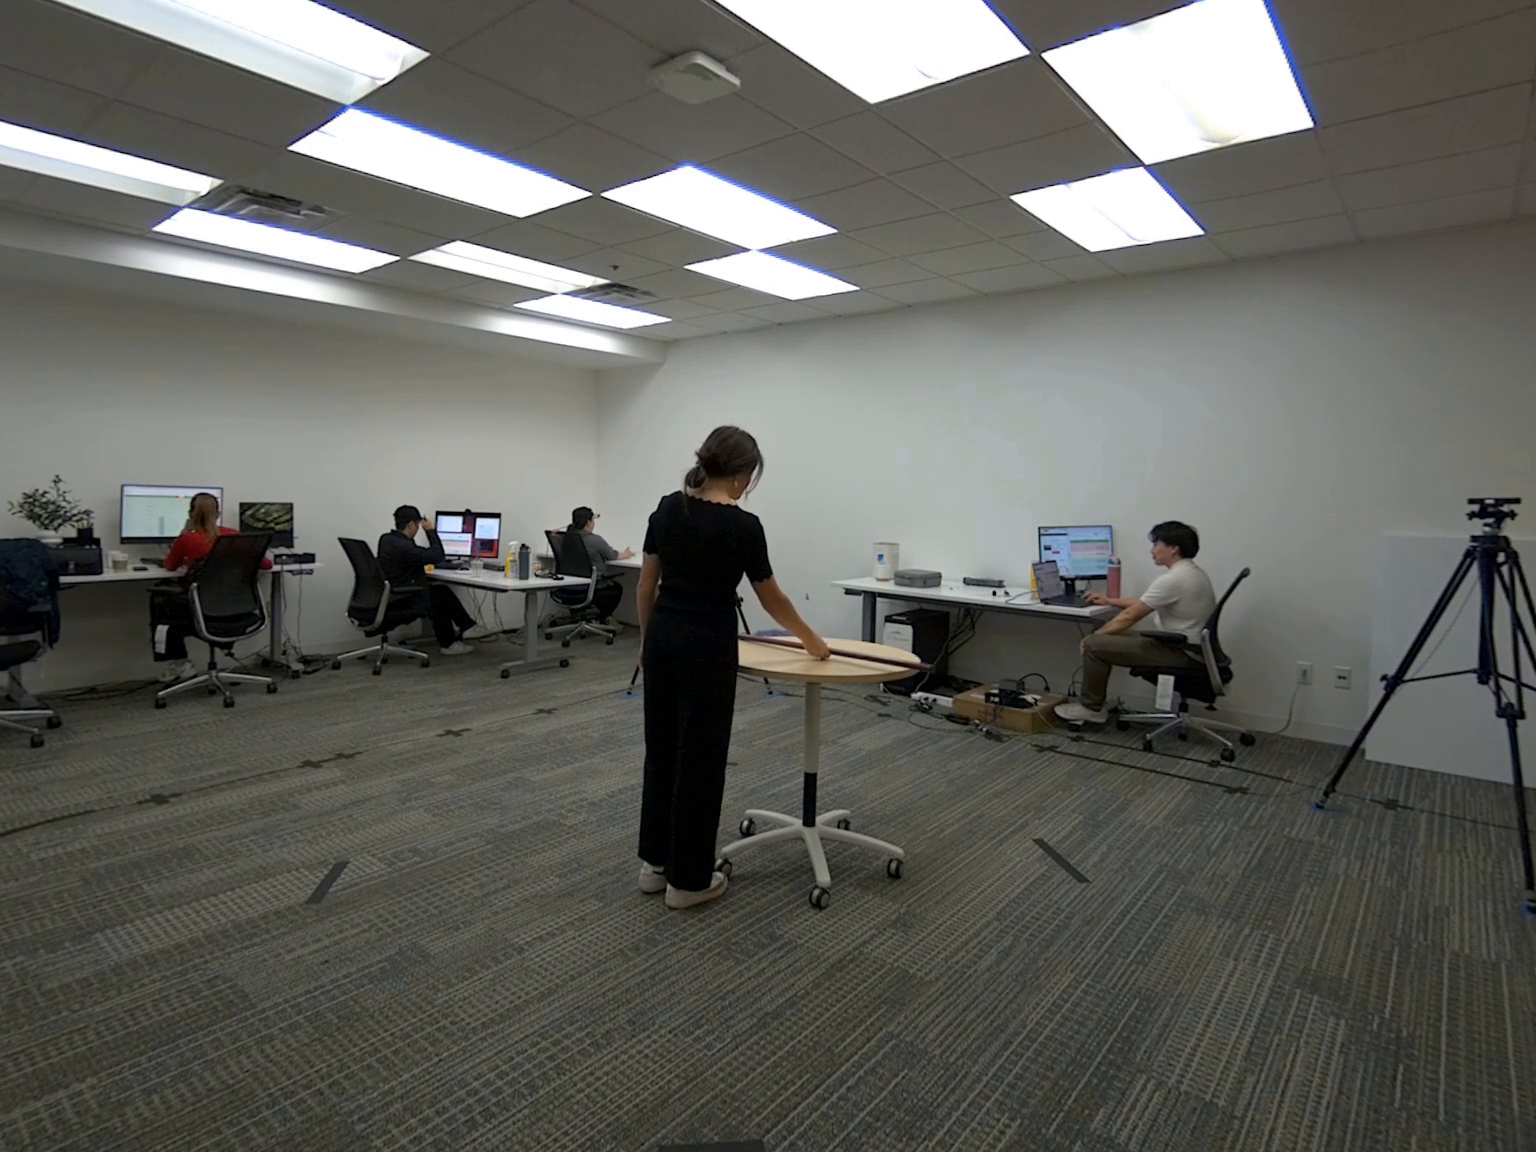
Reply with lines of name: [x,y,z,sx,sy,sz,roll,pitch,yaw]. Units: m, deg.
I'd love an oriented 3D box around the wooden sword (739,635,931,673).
wooden sword: [0.174,0.265,3.110,1.060,0.023,0.051,5,36,42]
